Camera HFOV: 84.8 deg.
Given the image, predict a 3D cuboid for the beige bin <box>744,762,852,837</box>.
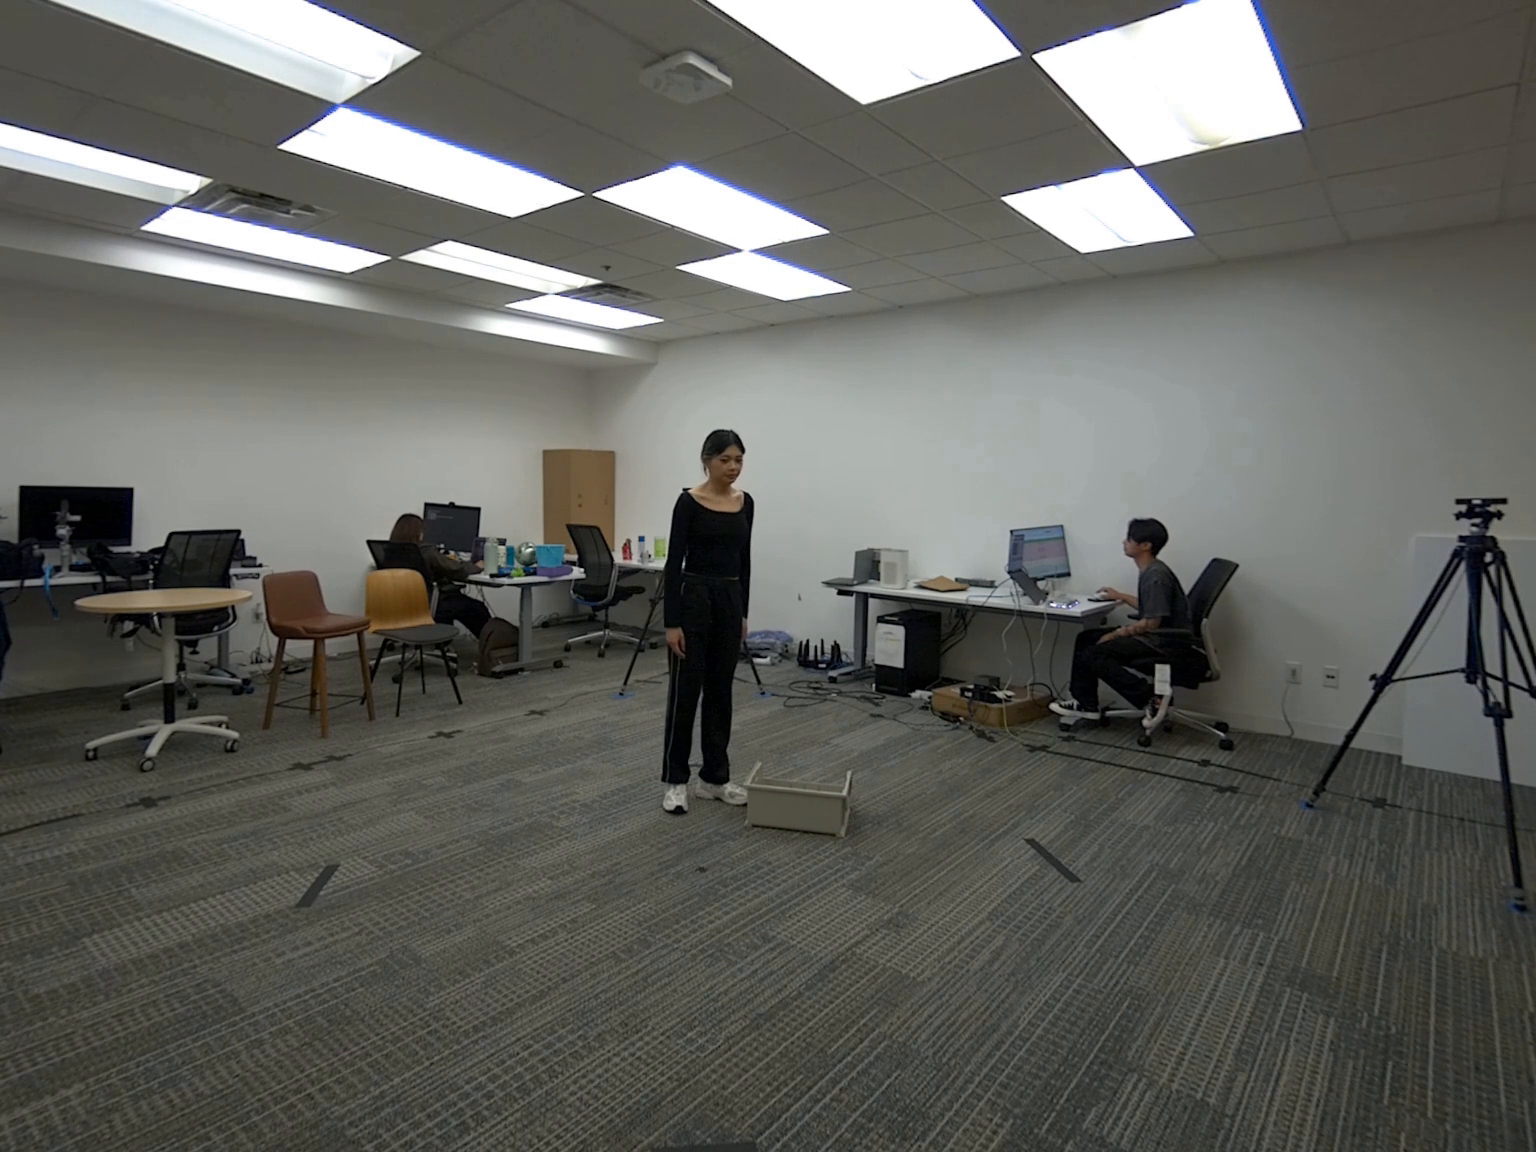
[{"bbox_3d":[0.126,0.934,3.637,0.428,0.188,0.374,2,6,12],"label":"beige bin"}]
